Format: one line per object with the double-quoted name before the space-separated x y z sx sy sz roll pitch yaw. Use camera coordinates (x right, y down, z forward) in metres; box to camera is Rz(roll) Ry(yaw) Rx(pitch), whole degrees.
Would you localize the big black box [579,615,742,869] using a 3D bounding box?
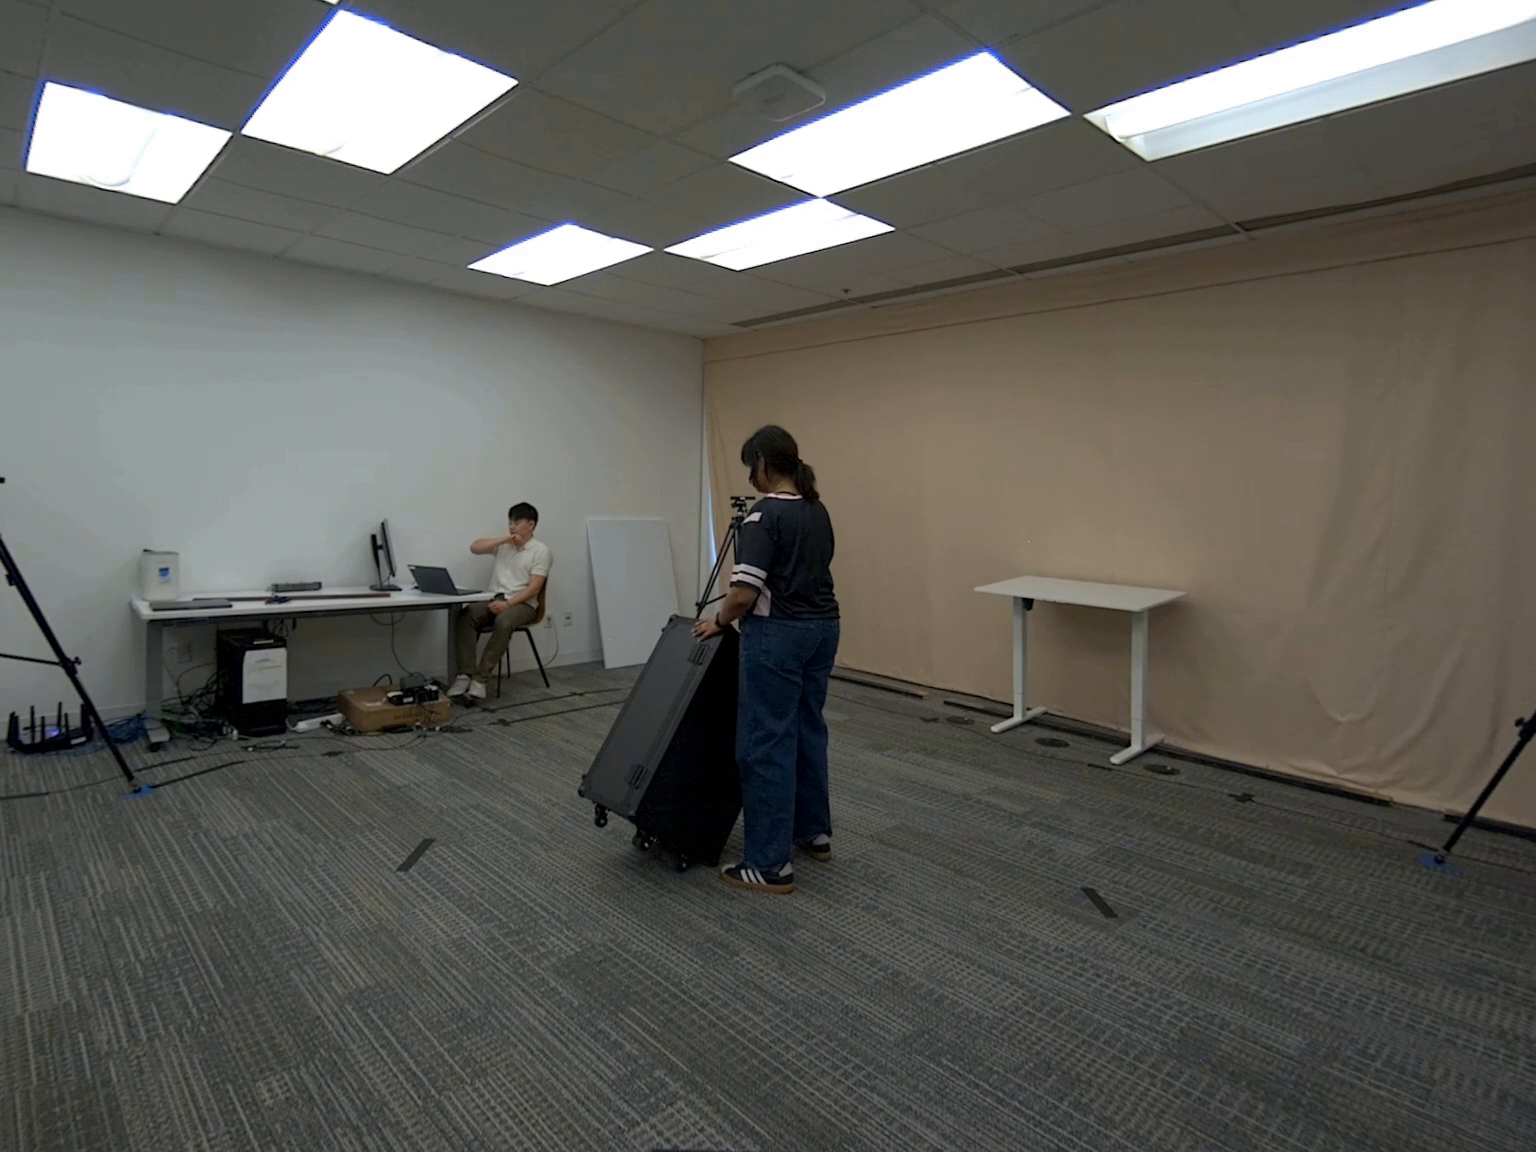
"big black box" -0.321 0.654 3.287 0.395 0.873 0.507 5 -29 45
